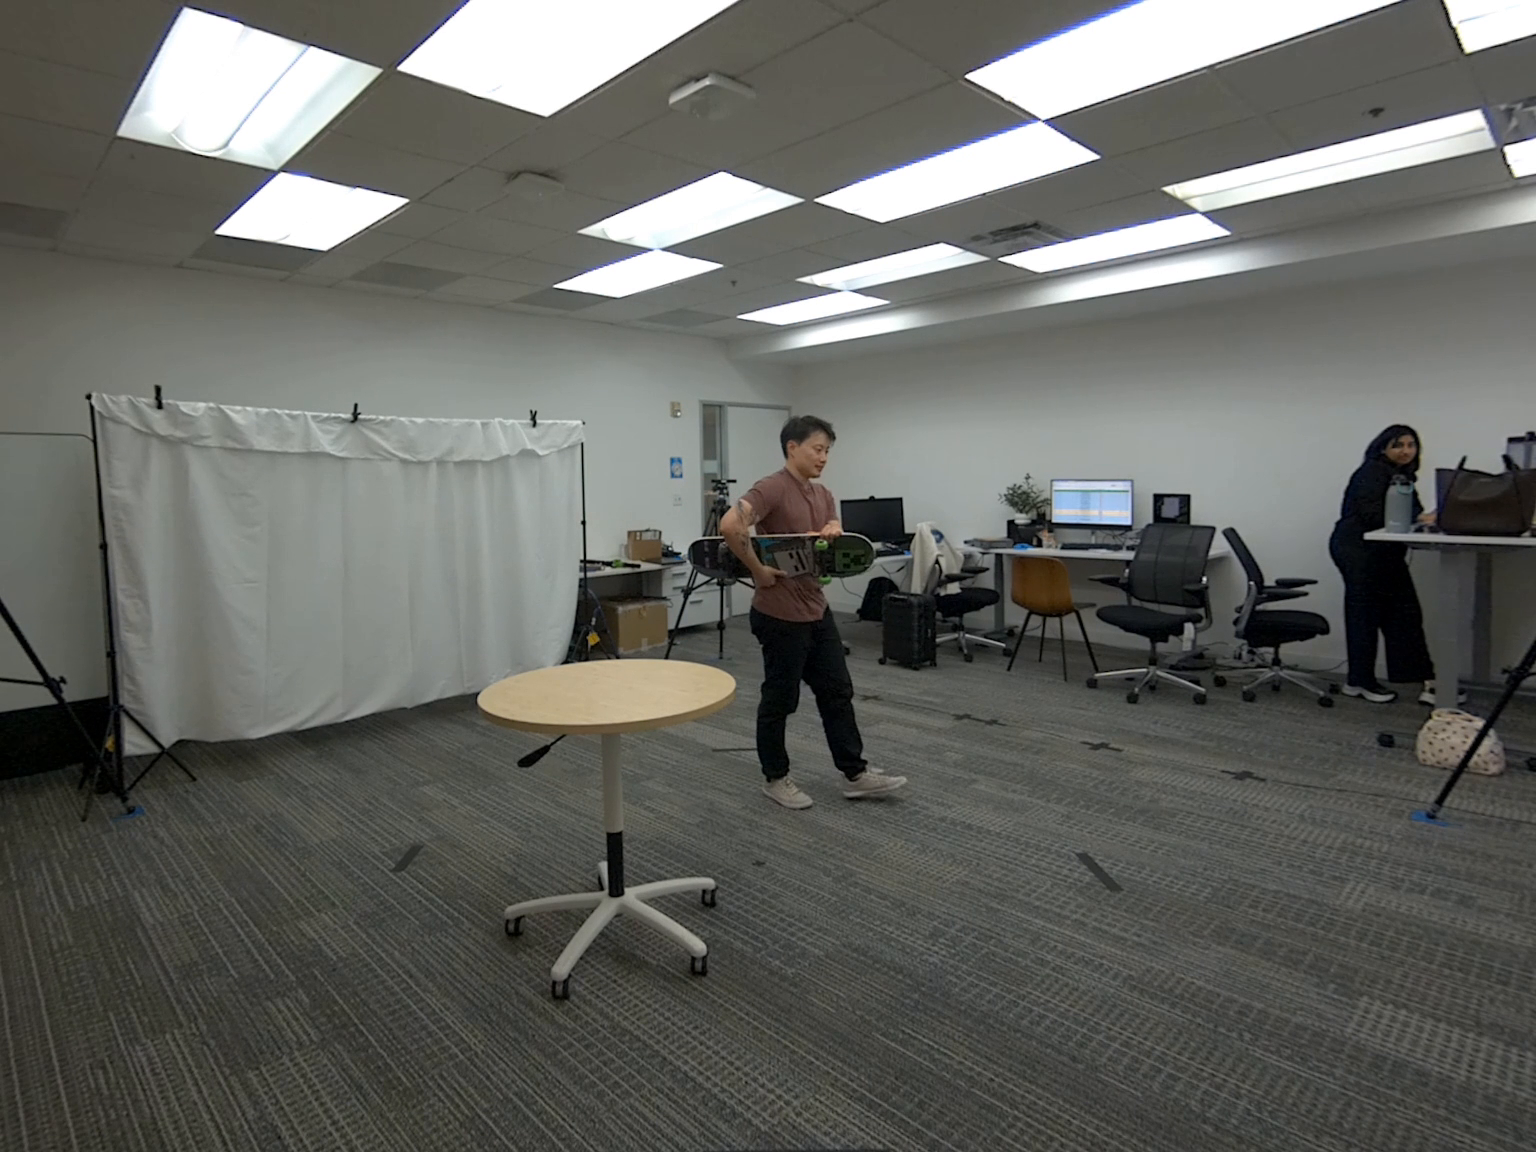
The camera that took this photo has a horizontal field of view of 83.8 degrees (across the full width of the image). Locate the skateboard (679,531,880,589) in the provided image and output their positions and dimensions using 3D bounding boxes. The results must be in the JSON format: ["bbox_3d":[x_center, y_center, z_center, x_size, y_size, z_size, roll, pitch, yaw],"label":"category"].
[{"bbox_3d":[0.040,-0.063,3.477,0.799,0.189,0.111,0,26,19],"label":"skateboard"}]
